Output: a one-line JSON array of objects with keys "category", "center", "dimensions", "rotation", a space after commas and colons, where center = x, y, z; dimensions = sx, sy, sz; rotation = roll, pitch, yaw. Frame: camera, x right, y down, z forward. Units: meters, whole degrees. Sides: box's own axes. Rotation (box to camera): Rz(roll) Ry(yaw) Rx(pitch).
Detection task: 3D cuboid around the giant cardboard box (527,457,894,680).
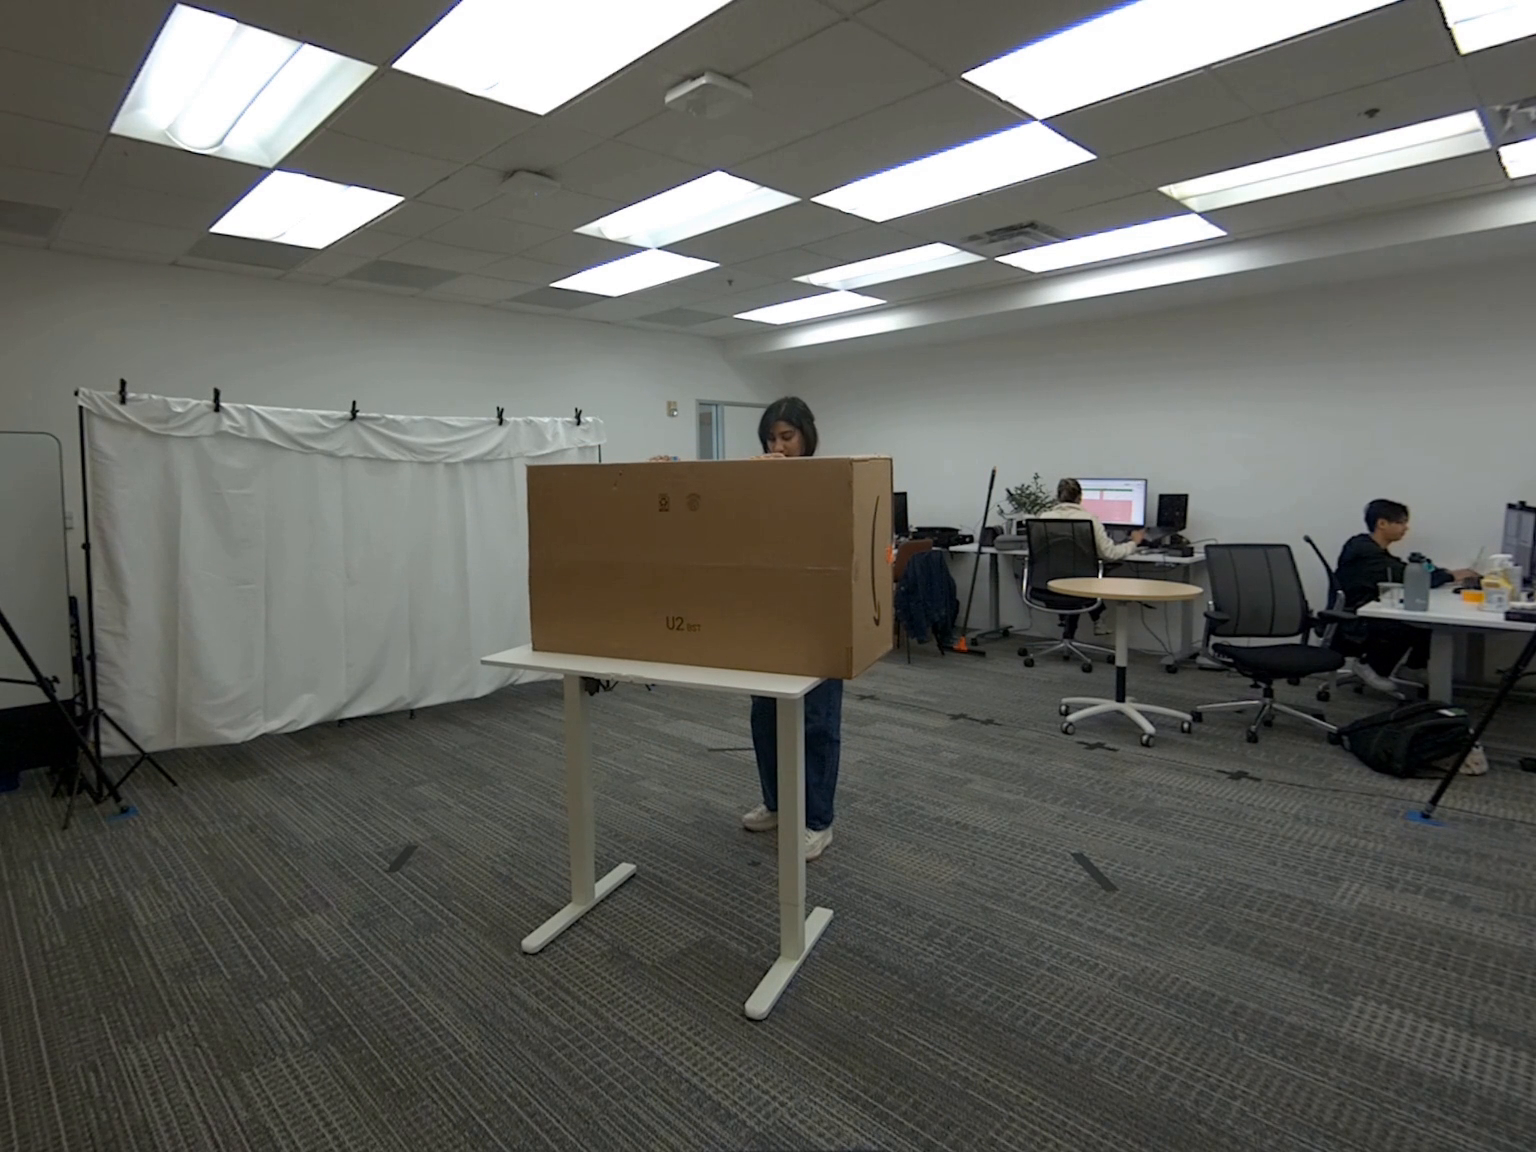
[{"category": "giant cardboard box", "center": [-0.184, -0.061, 2.576], "dimensions": [1.050, 0.575, 0.418], "rotation": [2, 6, 25]}]
